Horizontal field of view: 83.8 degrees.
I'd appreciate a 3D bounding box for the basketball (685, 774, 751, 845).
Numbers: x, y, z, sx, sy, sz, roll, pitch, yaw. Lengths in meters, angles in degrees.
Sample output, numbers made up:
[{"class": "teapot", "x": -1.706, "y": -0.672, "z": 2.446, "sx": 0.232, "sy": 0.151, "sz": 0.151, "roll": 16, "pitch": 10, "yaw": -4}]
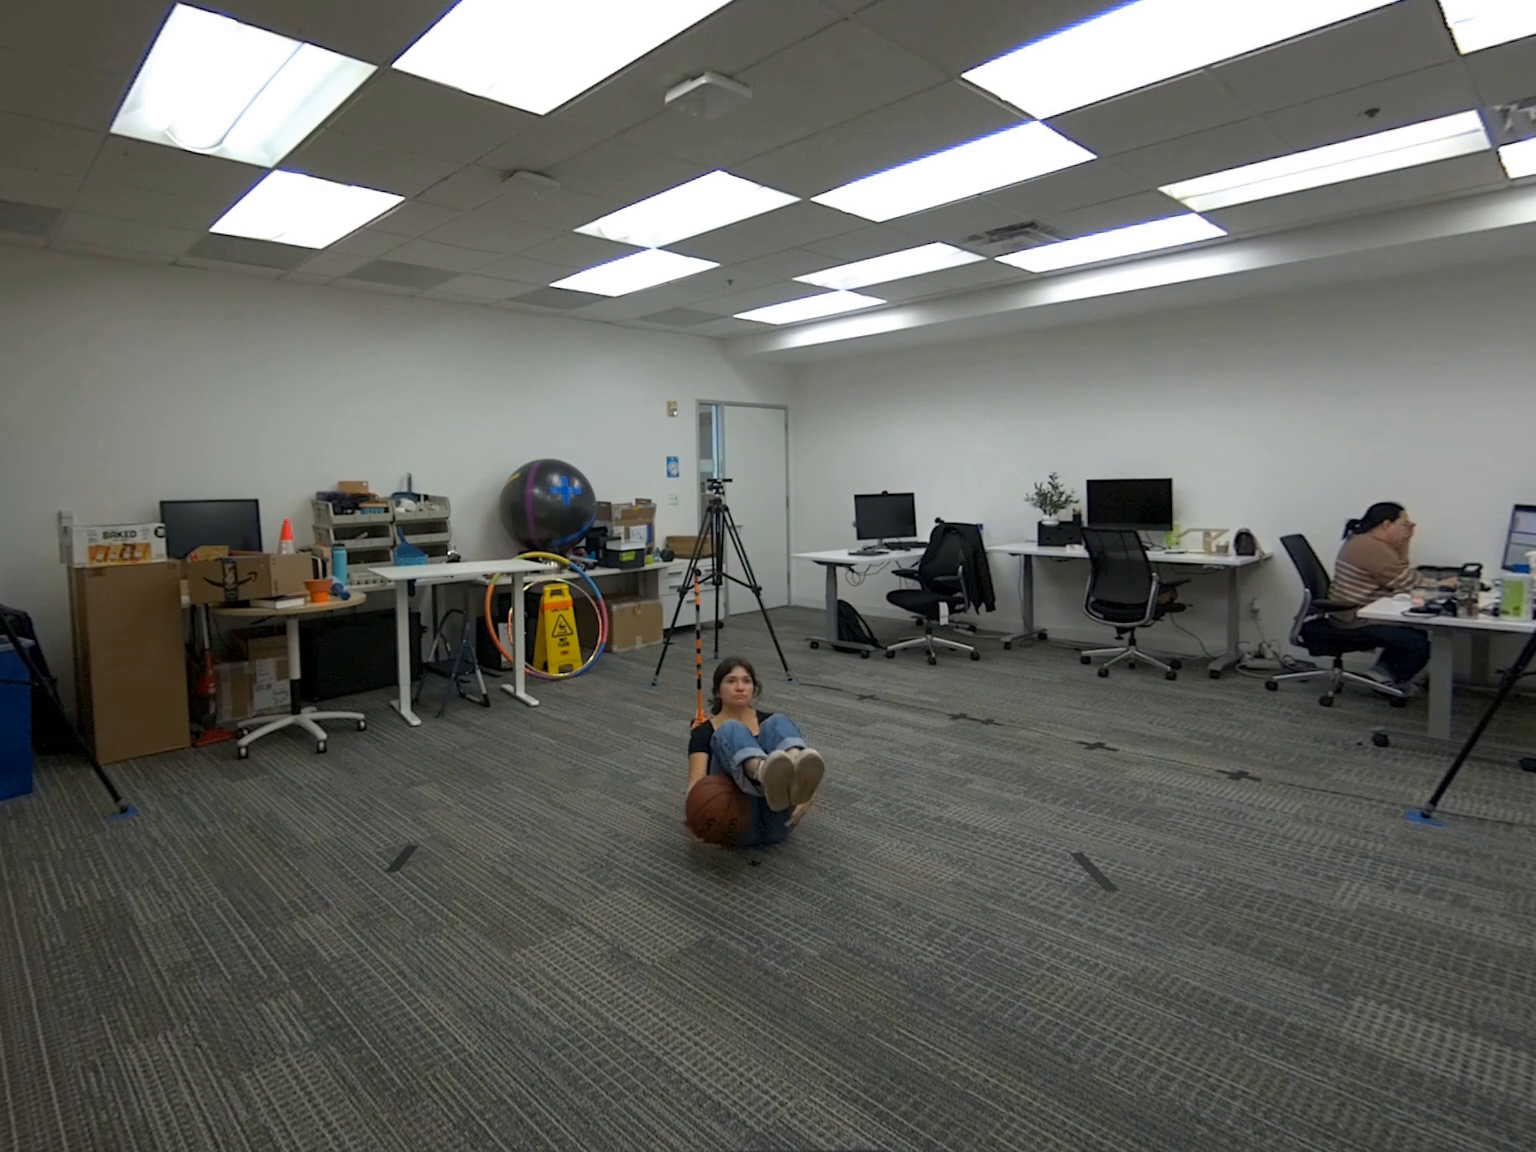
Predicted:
[{"class": "basketball", "x": -0.177, "y": 0.826, "z": 3.044, "sx": 0.236, "sy": 0.235, "sz": 0.237, "roll": -1, "pitch": 5, "yaw": -2}]
